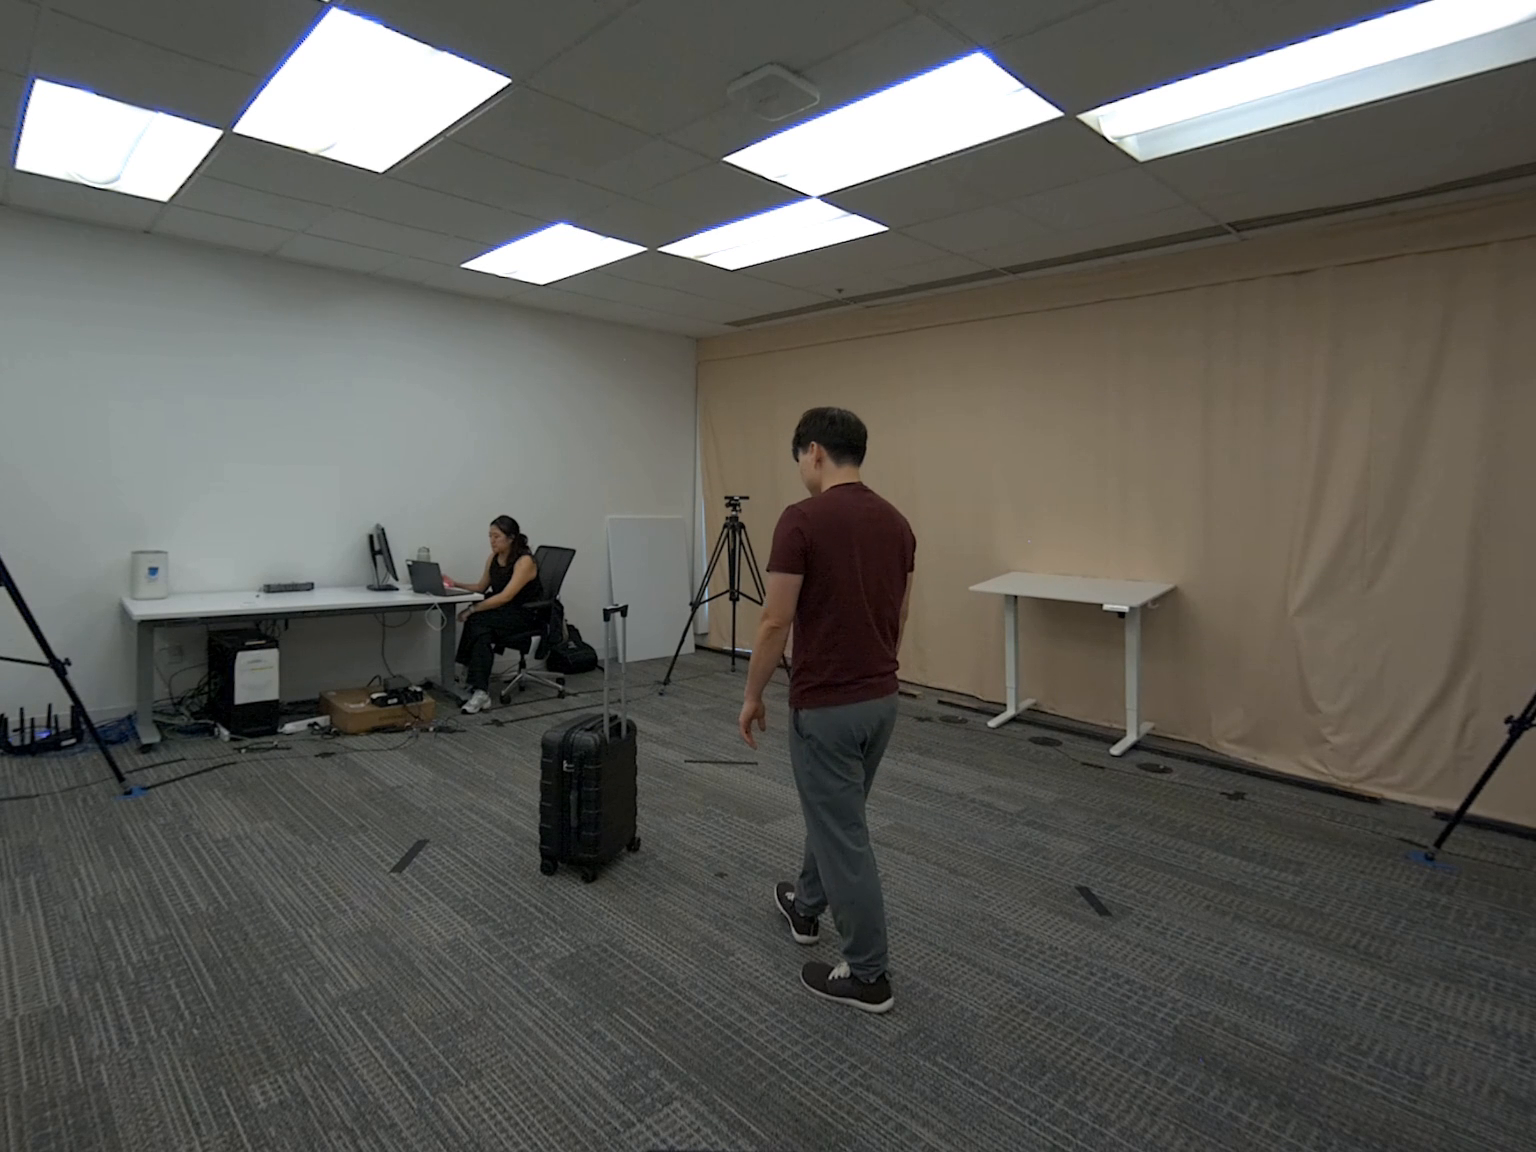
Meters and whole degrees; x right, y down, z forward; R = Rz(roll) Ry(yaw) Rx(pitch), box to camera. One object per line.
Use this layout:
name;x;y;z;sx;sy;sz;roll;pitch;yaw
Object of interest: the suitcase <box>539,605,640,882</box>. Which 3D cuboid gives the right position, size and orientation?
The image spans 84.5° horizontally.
suitcase;-0.681;0.608;3.164;0.261;0.977;0.379;0;3;19
